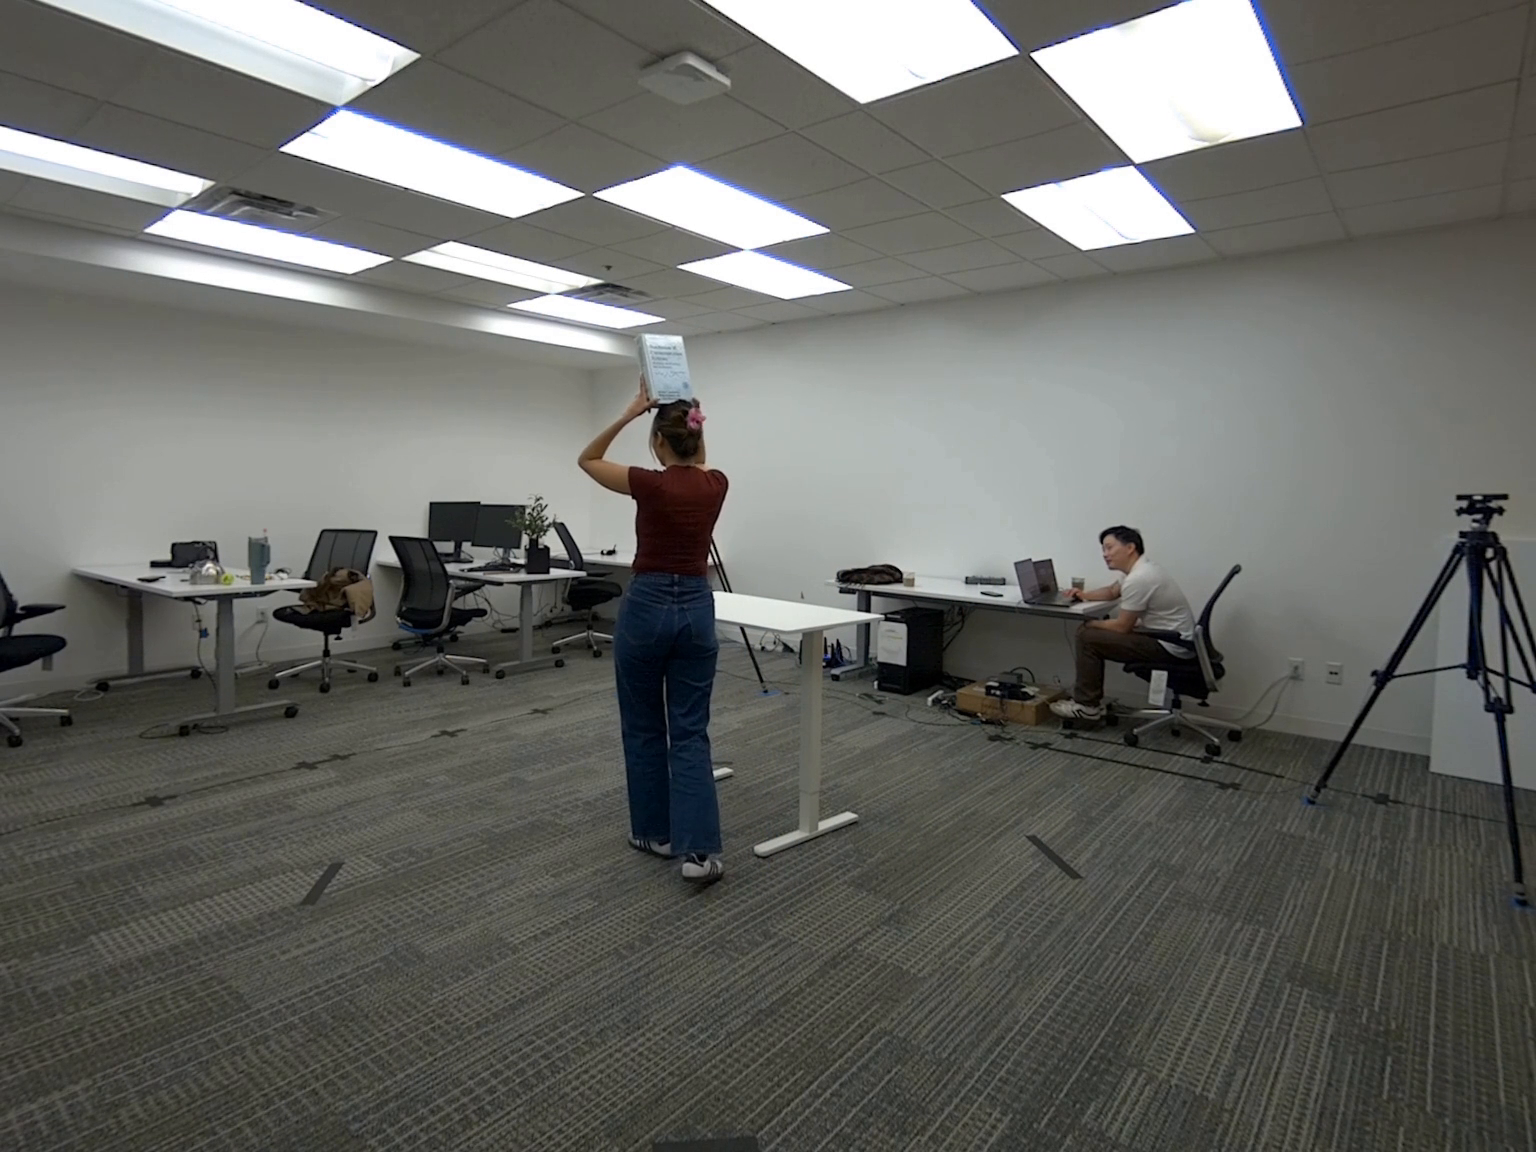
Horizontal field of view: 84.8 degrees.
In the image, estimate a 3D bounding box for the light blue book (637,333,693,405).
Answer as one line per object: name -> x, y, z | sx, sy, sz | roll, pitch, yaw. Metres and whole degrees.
light blue book -> -0.390, -0.754, 3.121 | 0.186, 0.262, 0.060 | -7, -6, -41
